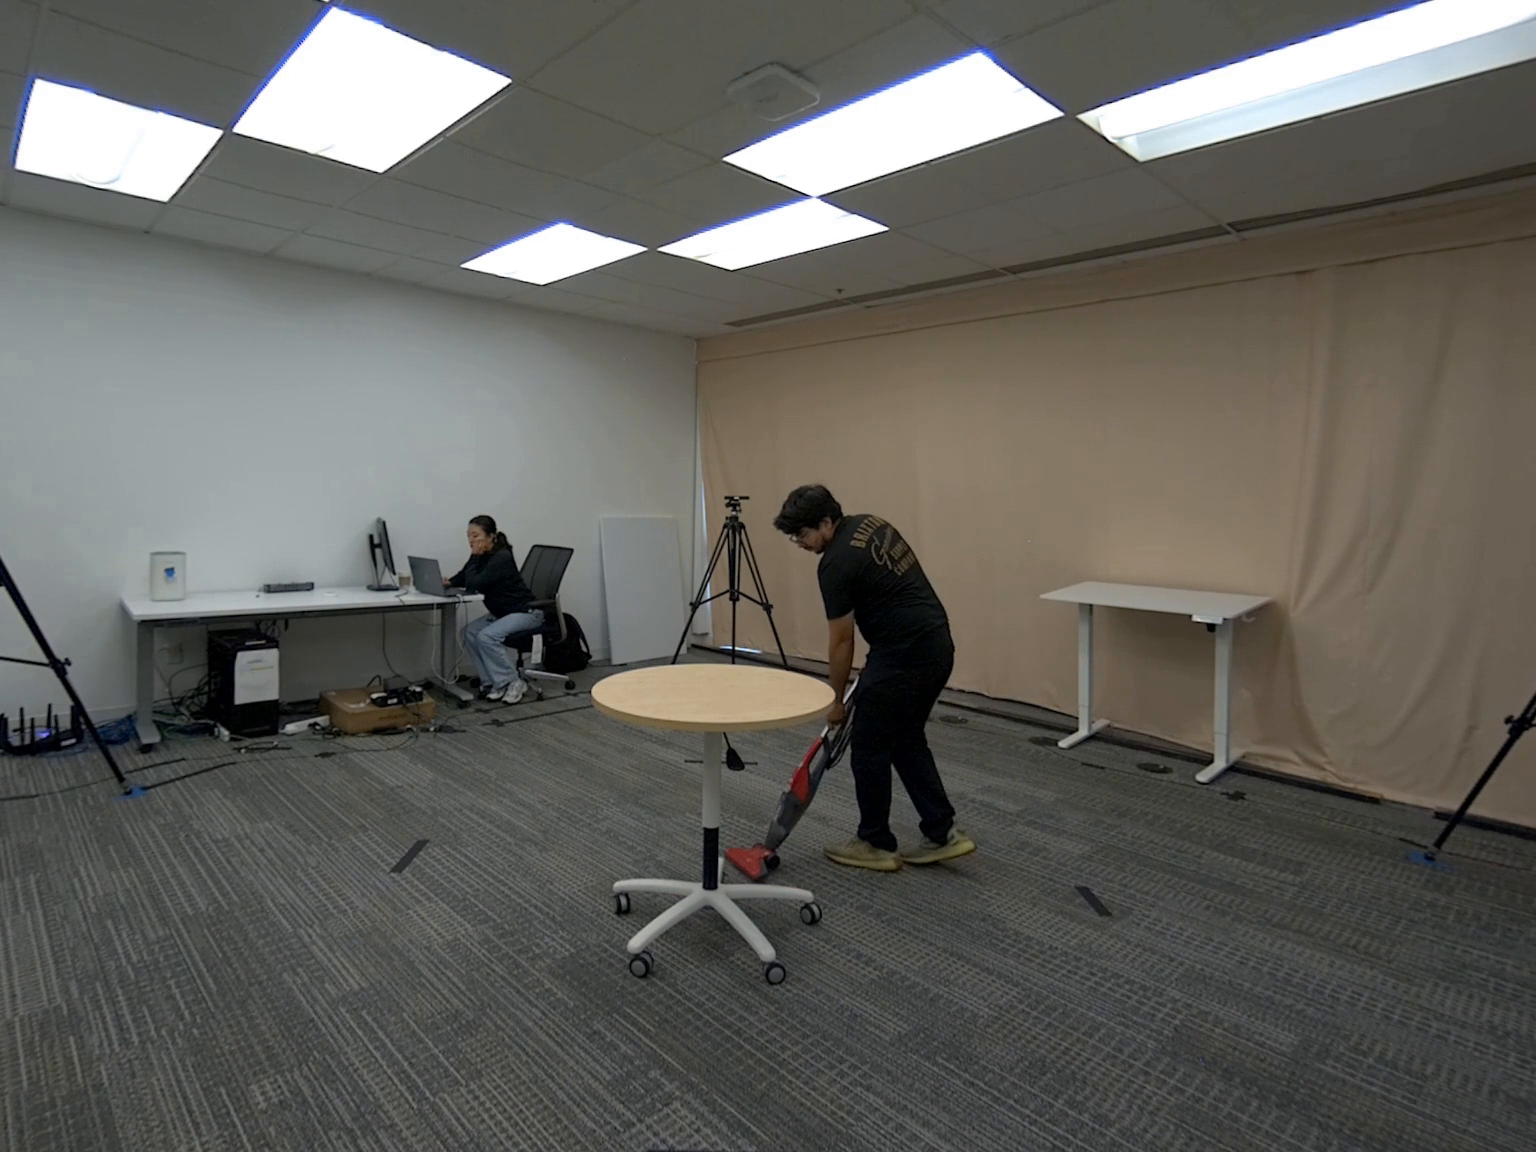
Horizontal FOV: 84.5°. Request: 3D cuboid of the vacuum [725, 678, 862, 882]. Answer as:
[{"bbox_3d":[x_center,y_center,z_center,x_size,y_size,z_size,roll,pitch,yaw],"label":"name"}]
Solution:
[{"bbox_3d":[0.226,0.657,3.295,0.141,1.052,0.258,41,-18,-23],"label":"vacuum"}]
